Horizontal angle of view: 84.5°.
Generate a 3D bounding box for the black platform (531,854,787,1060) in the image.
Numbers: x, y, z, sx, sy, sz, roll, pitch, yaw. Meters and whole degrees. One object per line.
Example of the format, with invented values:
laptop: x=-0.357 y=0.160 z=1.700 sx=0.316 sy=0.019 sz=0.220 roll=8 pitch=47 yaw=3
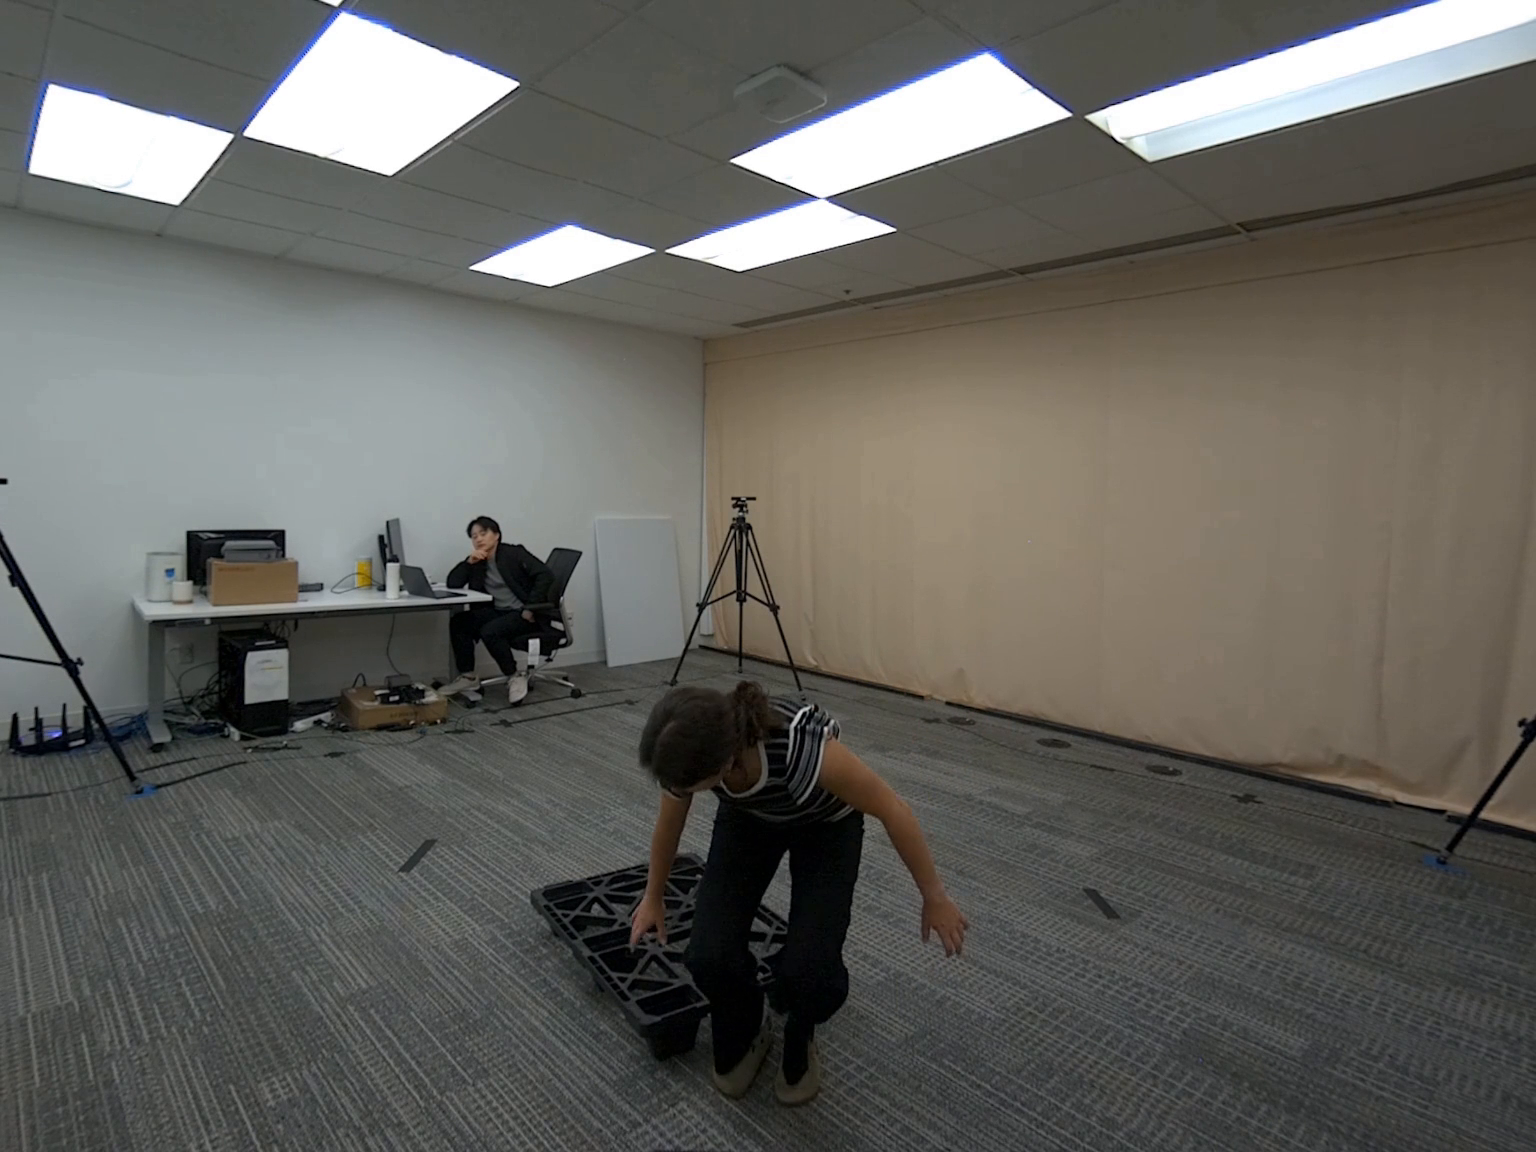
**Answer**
black platform: x=-0.297 y=1.092 z=2.495 sx=0.592 sy=0.143 sz=0.825 roll=-3 pitch=7 yaw=-34
